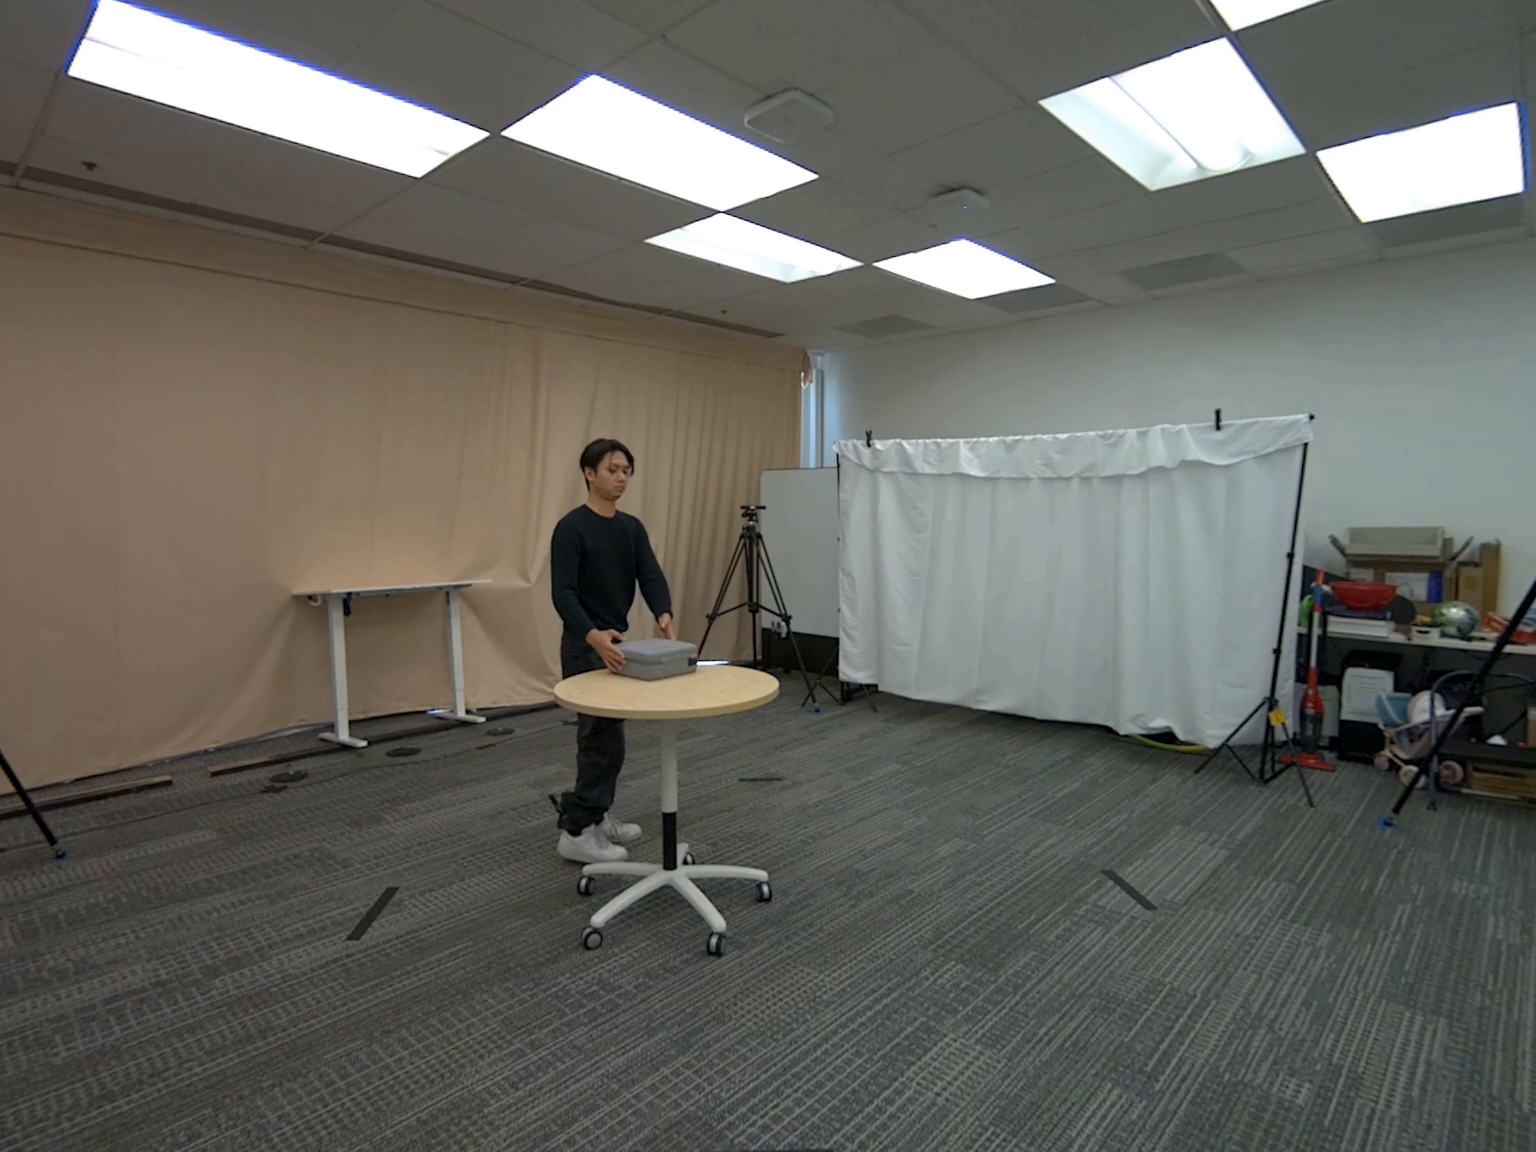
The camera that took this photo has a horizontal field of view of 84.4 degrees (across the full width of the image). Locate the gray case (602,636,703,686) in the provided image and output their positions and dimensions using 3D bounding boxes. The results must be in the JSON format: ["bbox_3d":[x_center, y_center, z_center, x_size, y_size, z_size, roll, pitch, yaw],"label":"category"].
[{"bbox_3d":[-0.424,0.303,3.081,0.269,0.104,0.249,4,8,41],"label":"gray case"}]
